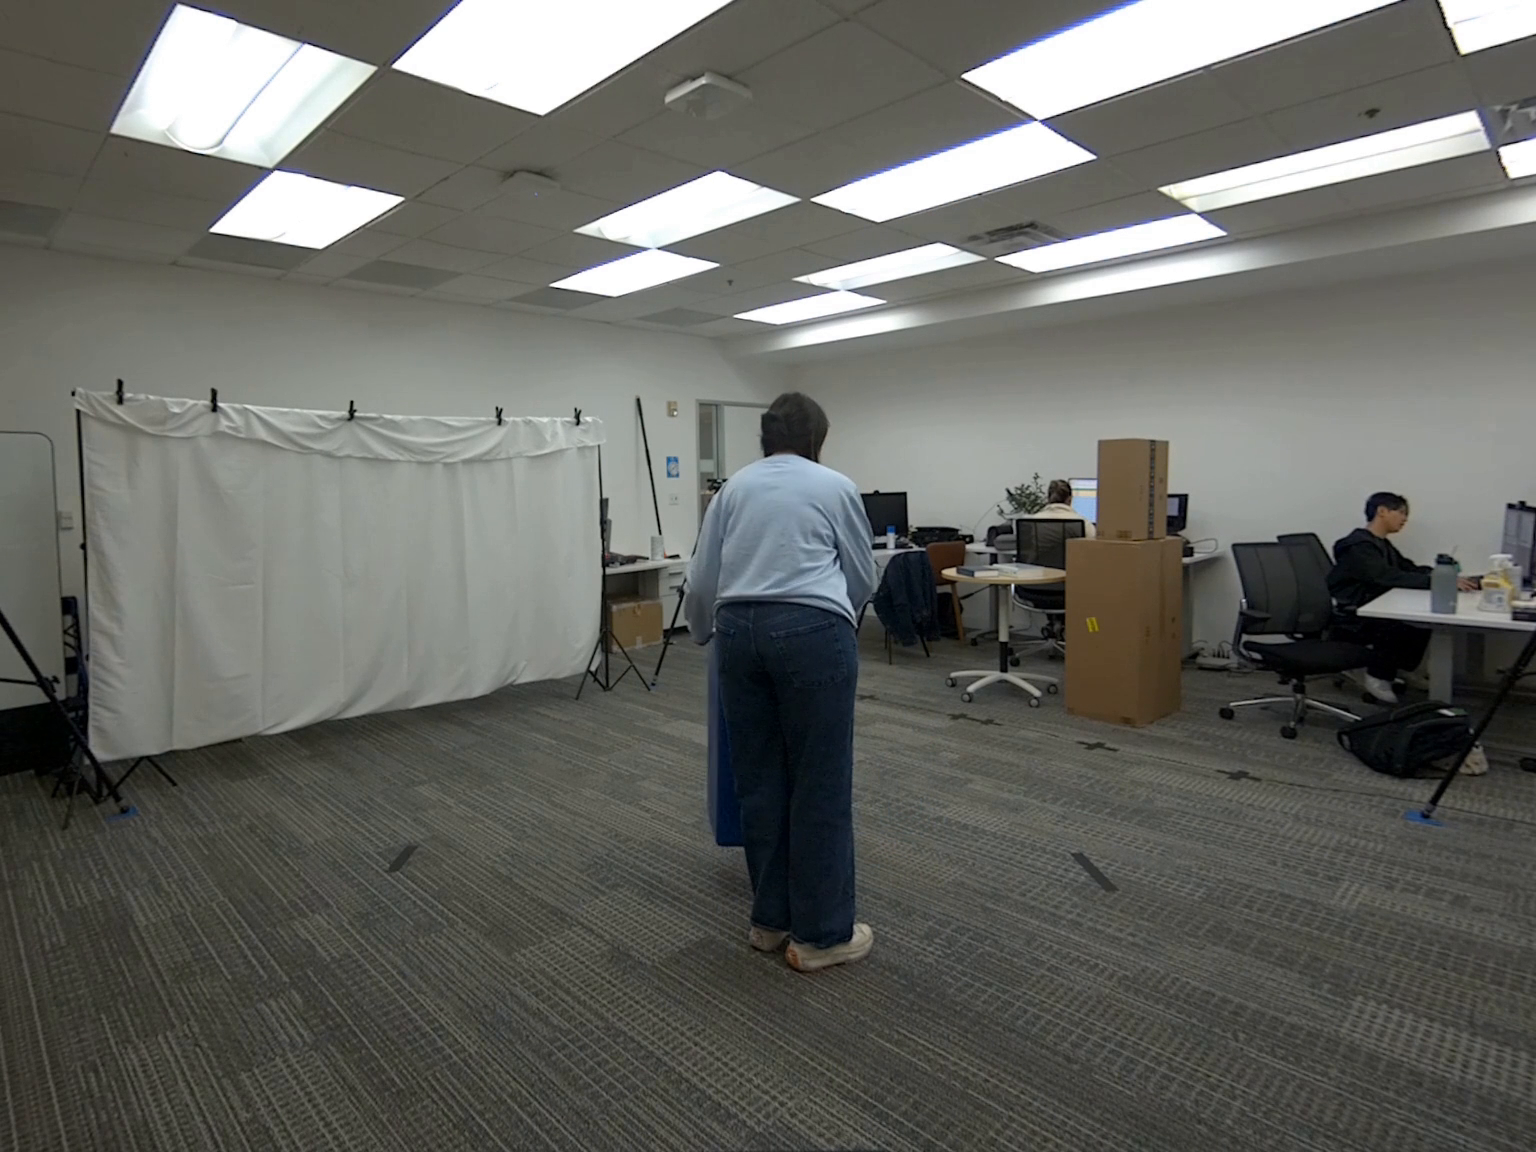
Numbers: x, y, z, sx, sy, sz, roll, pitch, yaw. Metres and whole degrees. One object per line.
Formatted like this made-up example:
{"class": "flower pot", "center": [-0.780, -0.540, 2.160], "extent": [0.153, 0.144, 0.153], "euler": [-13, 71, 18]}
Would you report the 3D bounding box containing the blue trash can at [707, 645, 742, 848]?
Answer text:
{"class": "blue trash can", "center": [-0.030, 0.532, 2.961], "extent": [0.375, 0.712, 0.377], "euler": [2, 2, -8]}
